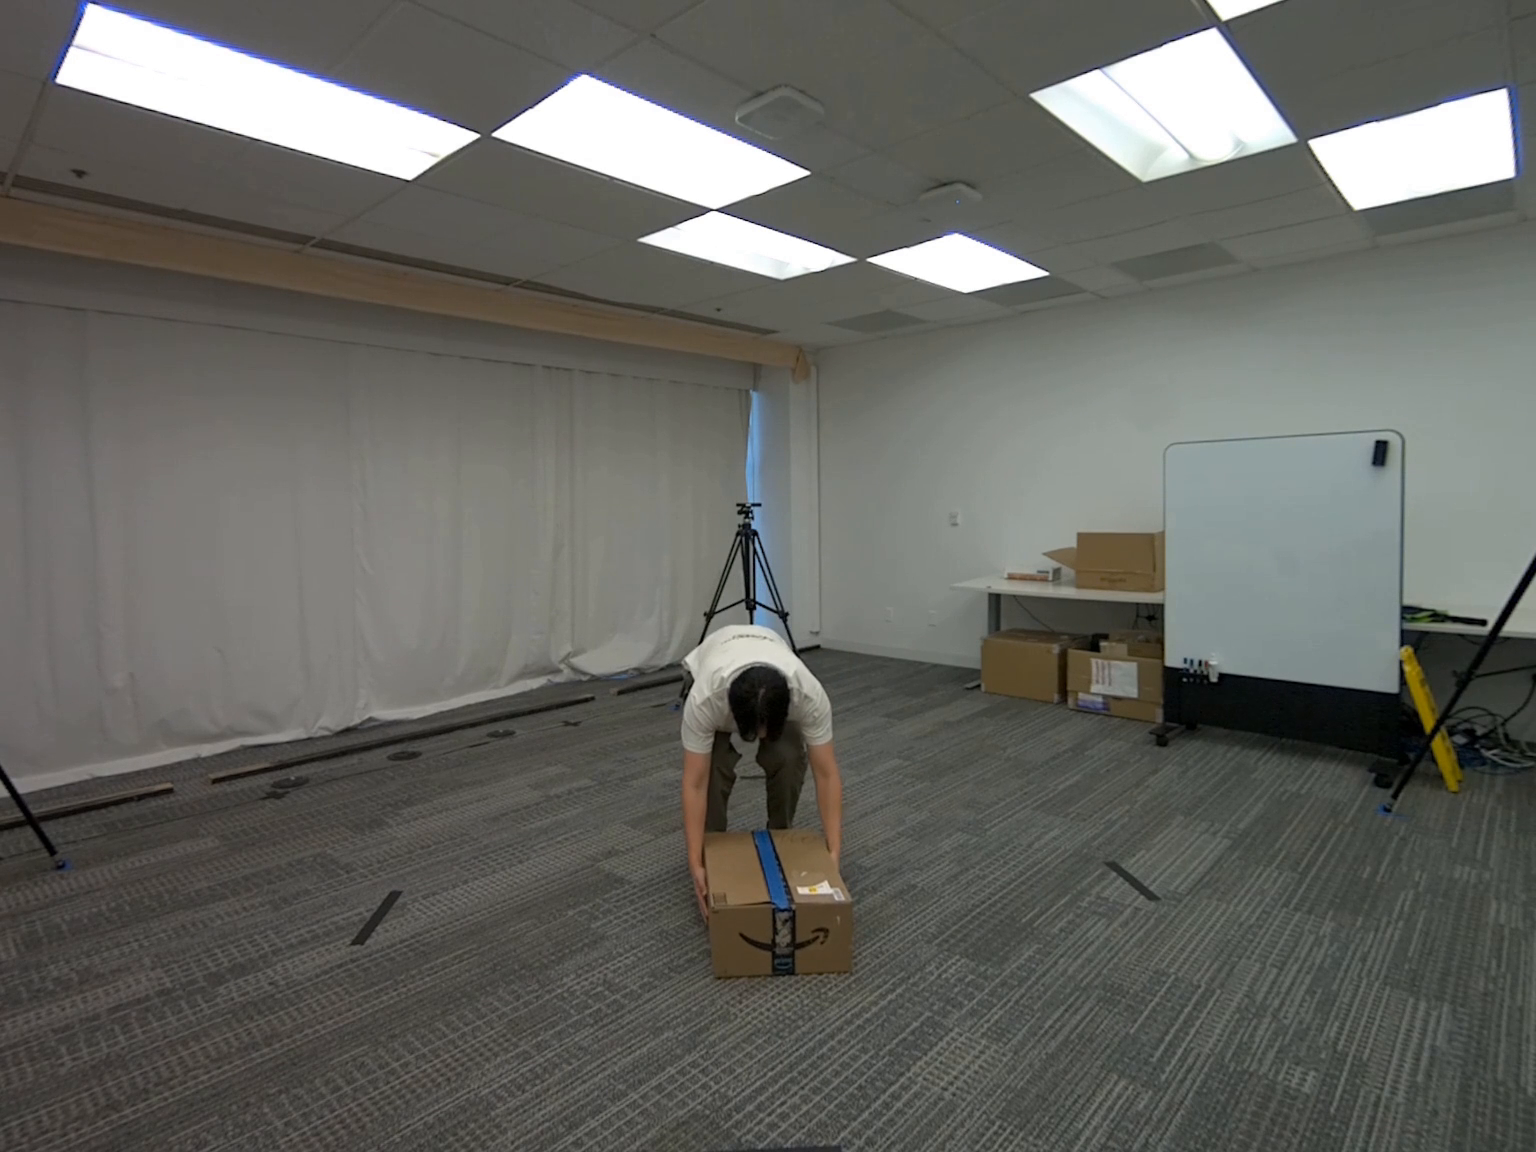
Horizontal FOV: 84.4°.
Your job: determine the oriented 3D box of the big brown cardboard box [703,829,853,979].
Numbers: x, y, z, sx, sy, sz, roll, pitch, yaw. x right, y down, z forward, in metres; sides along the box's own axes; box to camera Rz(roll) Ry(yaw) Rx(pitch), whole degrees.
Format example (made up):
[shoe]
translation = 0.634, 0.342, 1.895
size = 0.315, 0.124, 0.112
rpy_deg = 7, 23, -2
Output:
[big brown cardboard box]
translation = 0.013, 1.041, 2.741
size = 0.415, 0.233, 0.594
rpy_deg = -1, 4, -7
